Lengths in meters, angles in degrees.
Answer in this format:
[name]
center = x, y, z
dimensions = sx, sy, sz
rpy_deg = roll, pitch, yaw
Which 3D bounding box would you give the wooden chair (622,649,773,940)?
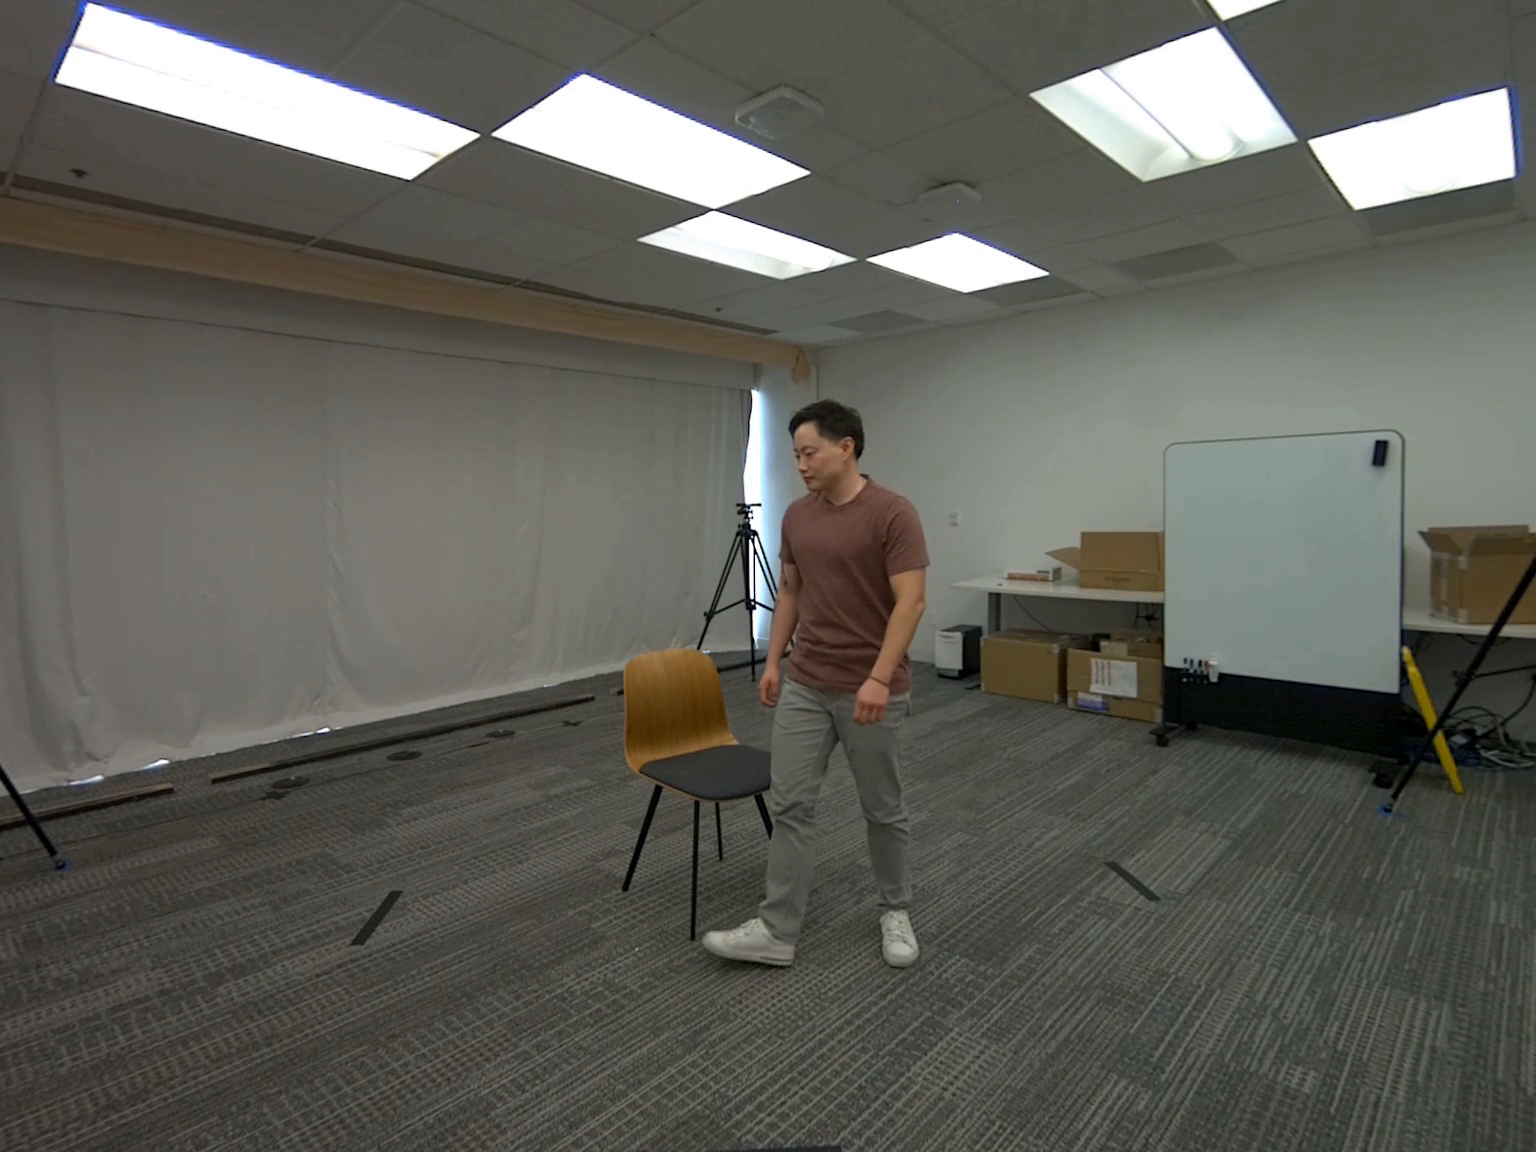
[wooden chair]
center = -0.217, 0.714, 2.965
dimensions = 0.464, 0.877, 0.539
rpy_deg = -4, 0, -38
